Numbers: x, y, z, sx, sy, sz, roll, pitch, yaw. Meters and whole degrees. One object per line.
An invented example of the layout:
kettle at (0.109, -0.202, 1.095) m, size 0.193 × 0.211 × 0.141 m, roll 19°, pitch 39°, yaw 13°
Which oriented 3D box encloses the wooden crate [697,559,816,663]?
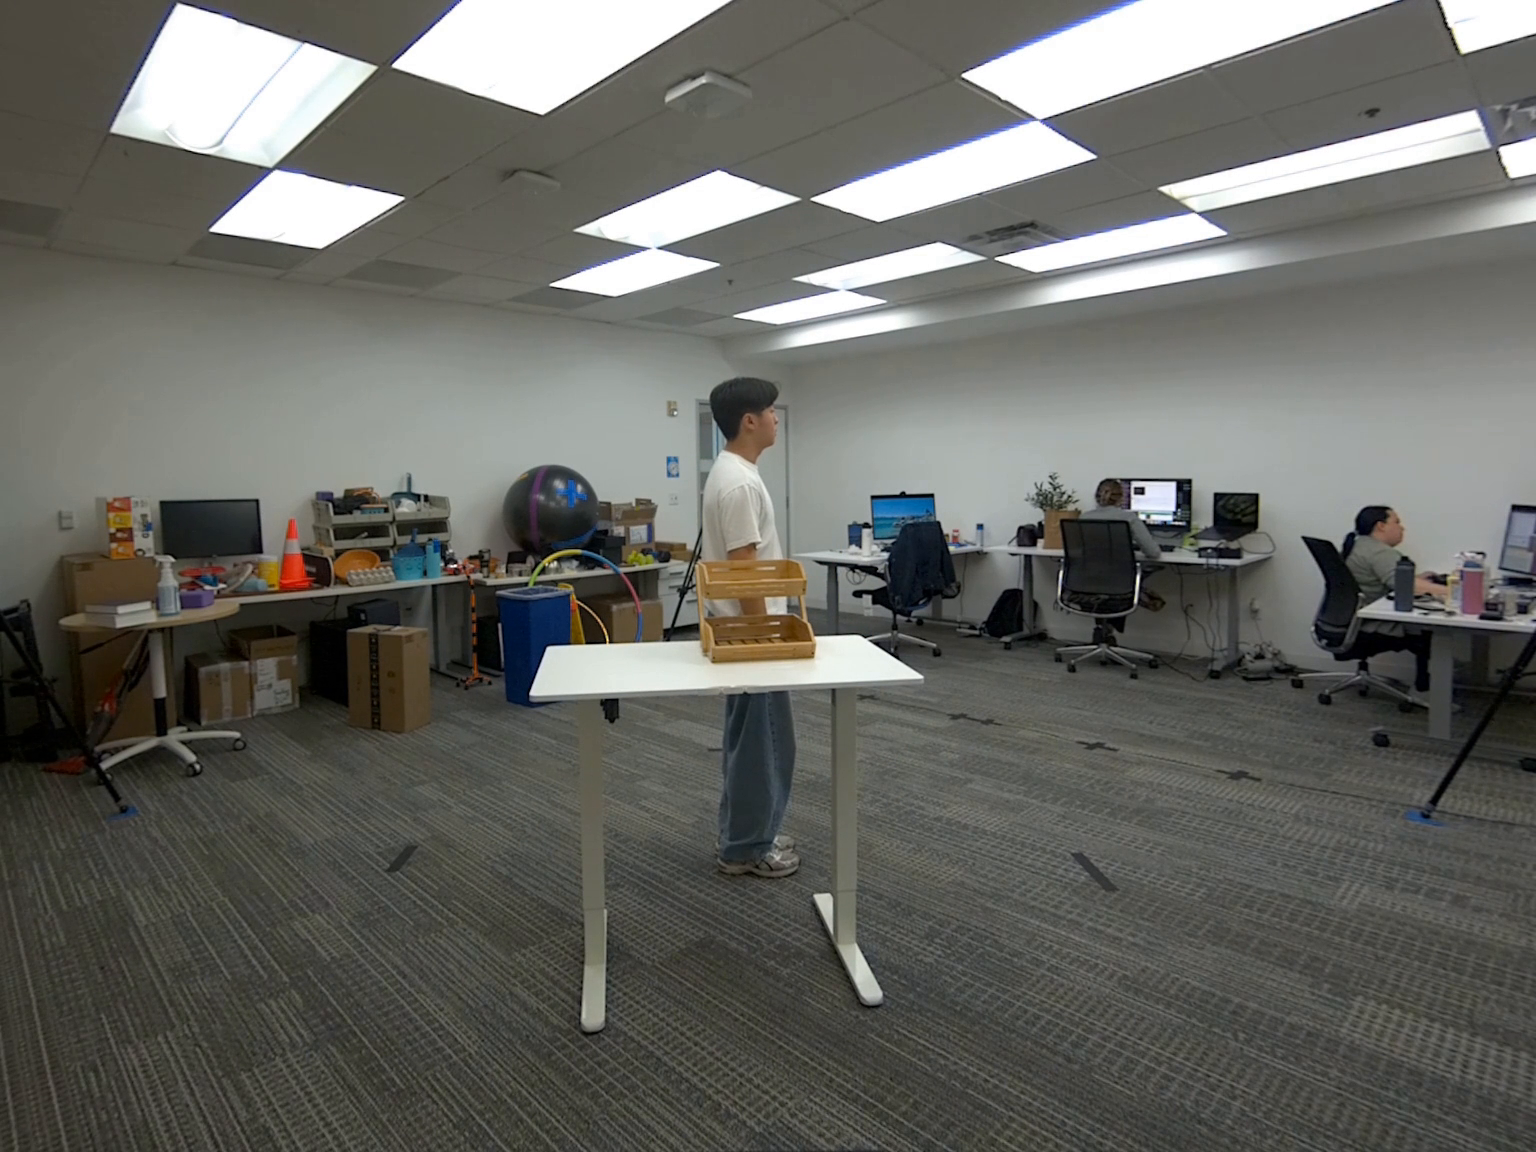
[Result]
wooden crate at (-0.044, 0.097, 2.553) m, size 0.321 × 0.272 × 0.306 m, roll -2°, pitch 5°, yaw -11°
